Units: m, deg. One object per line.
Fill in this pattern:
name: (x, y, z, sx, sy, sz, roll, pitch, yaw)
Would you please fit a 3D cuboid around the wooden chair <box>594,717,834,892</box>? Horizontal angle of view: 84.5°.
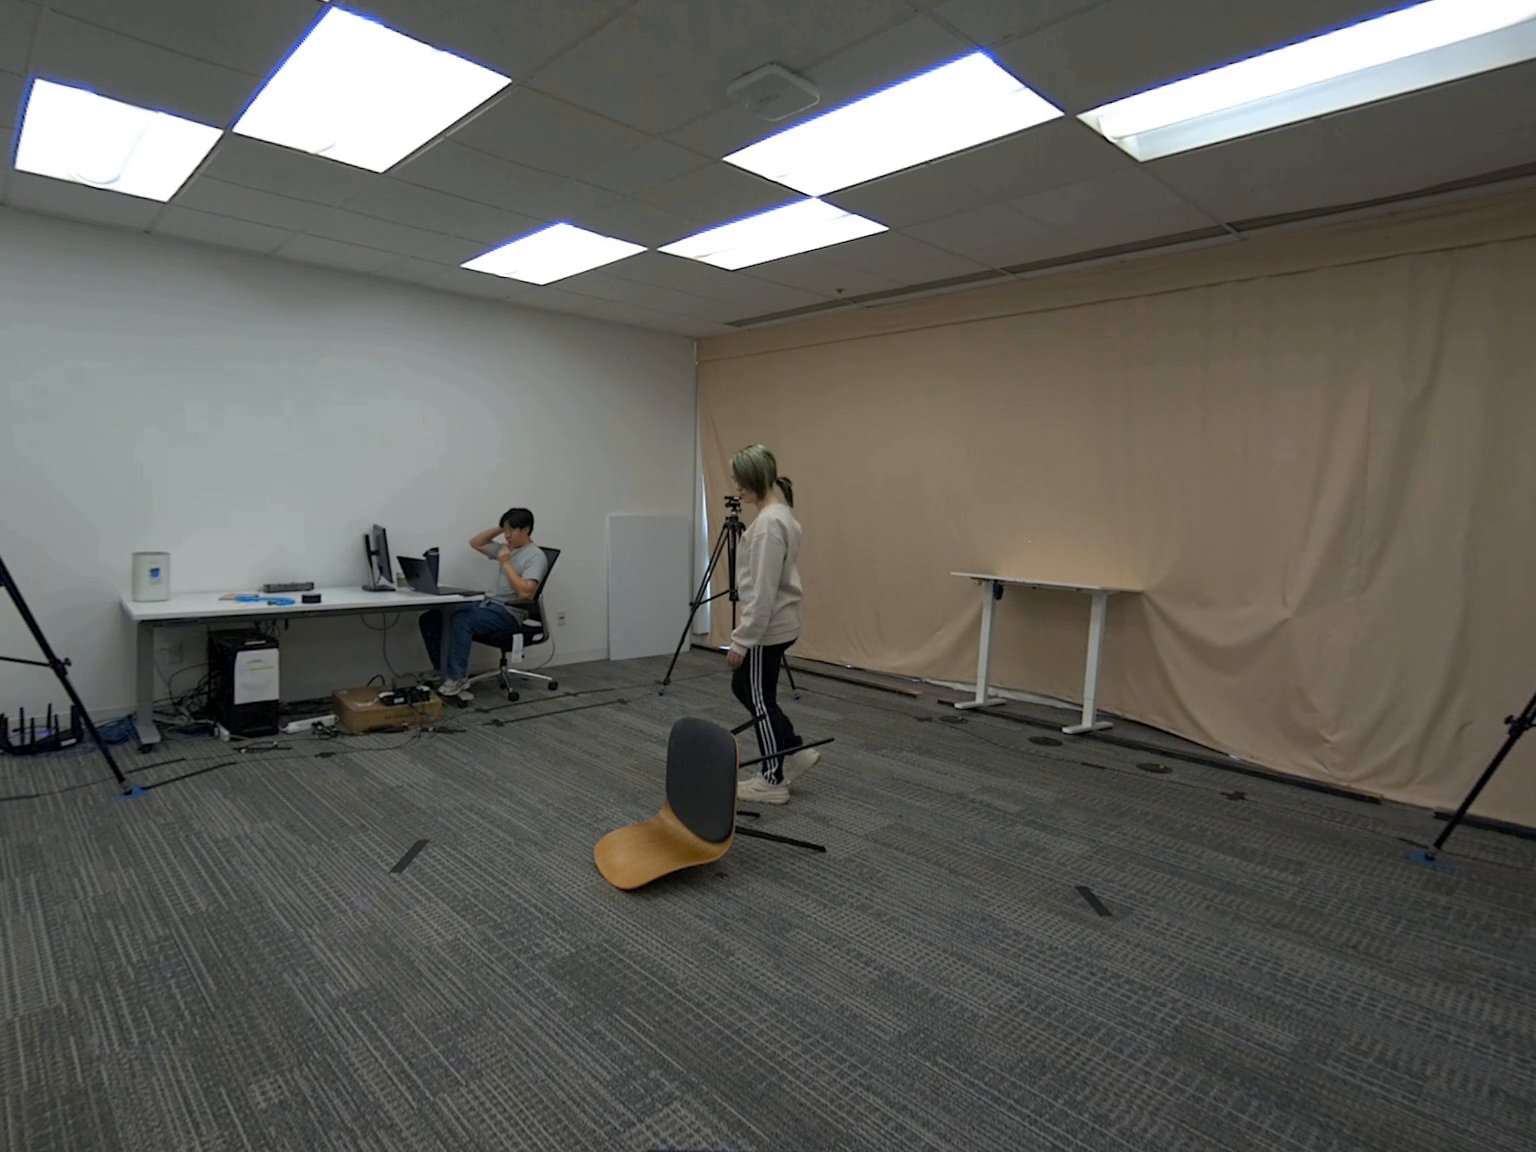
wooden chair: (-0.234, 0.831, 3.264, 0.858, 0.521, 0.490, -3, 6, -36)
